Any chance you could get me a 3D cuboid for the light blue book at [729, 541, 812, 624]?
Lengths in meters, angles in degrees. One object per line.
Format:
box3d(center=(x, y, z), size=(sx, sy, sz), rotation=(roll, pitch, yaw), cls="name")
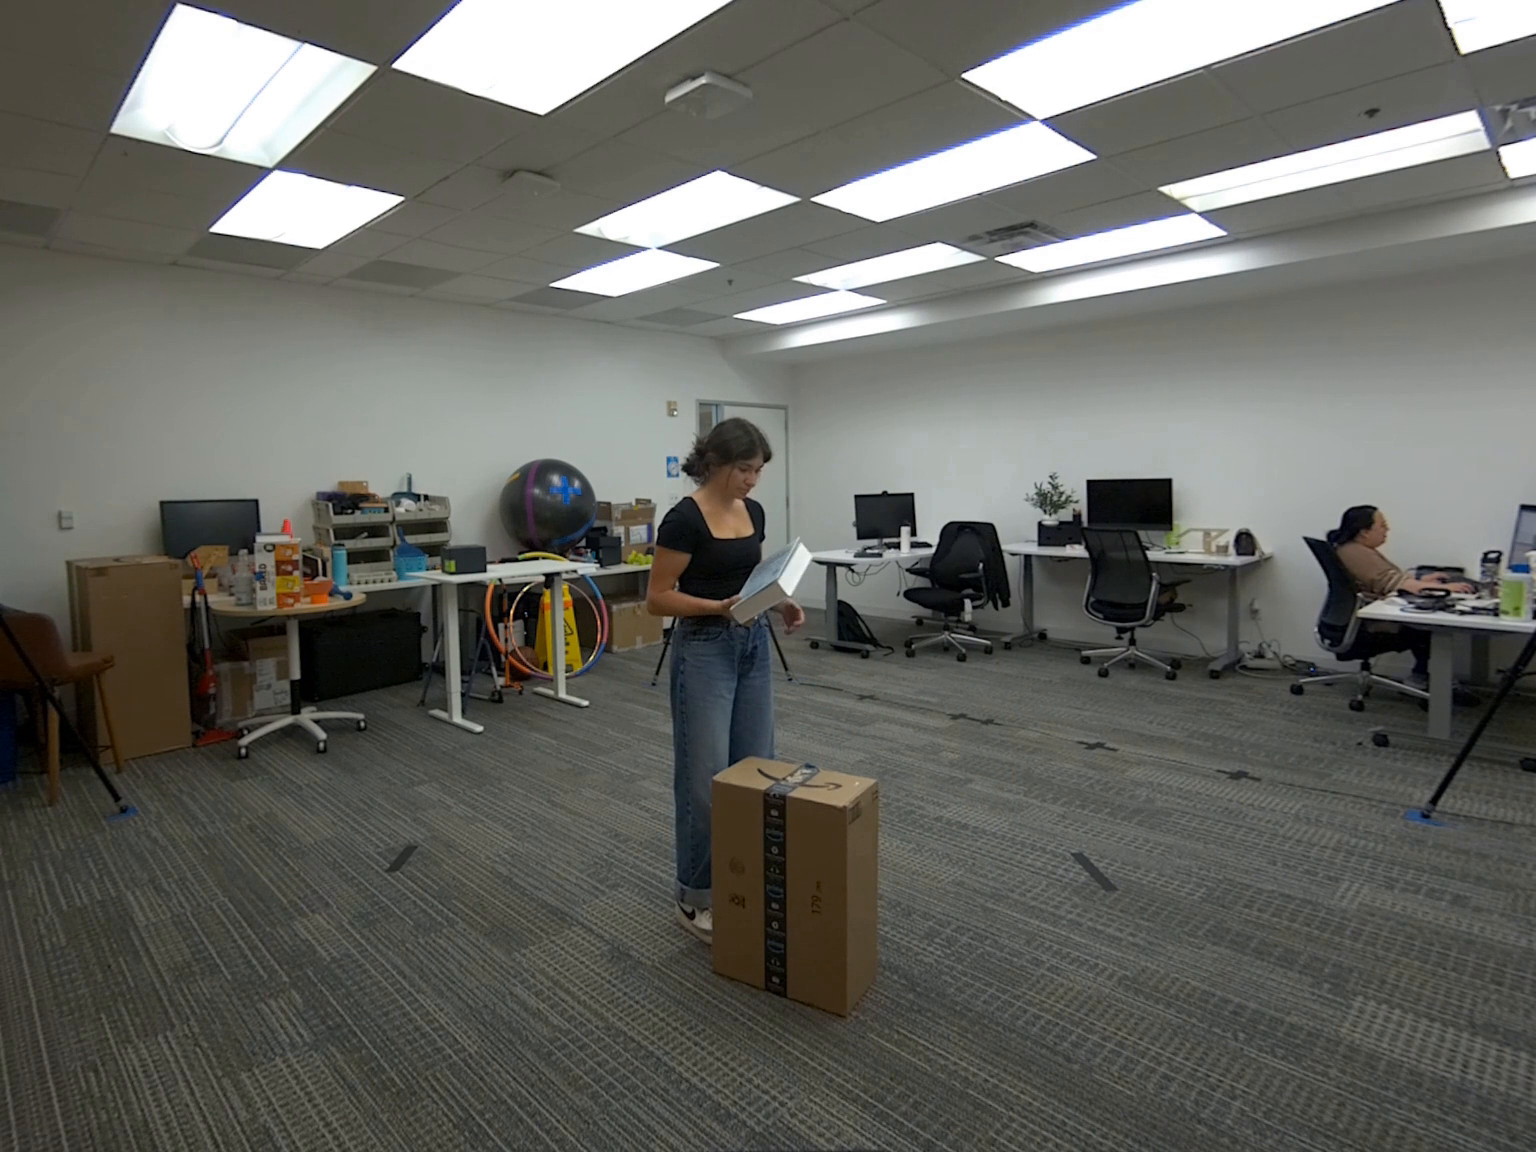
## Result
box3d(center=(0.019, 0.017, 2.474), size=(0.193, 0.058, 0.262), rotation=(-31, 15, 30), cls="light blue book")
